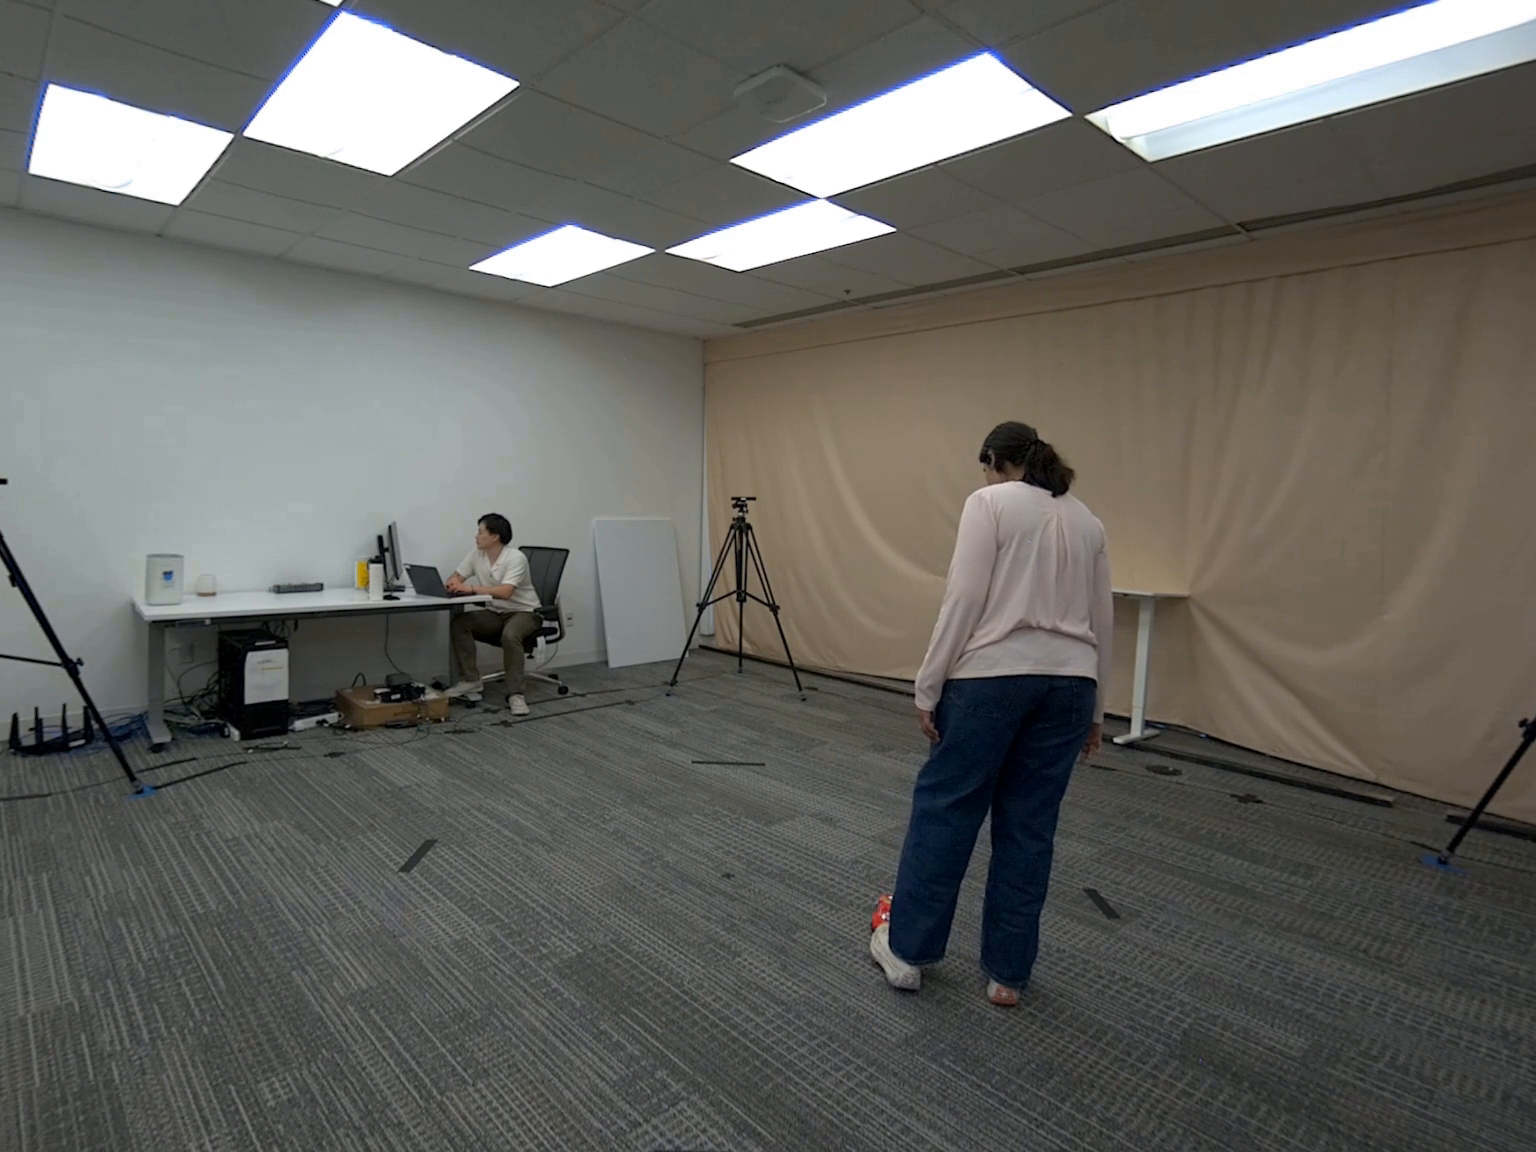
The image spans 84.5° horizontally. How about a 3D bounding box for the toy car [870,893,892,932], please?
[{"bbox_3d":[0.404,1.118,2.760,0.132,0.083,0.250,1,-6,15],"label":"toy car"}]
